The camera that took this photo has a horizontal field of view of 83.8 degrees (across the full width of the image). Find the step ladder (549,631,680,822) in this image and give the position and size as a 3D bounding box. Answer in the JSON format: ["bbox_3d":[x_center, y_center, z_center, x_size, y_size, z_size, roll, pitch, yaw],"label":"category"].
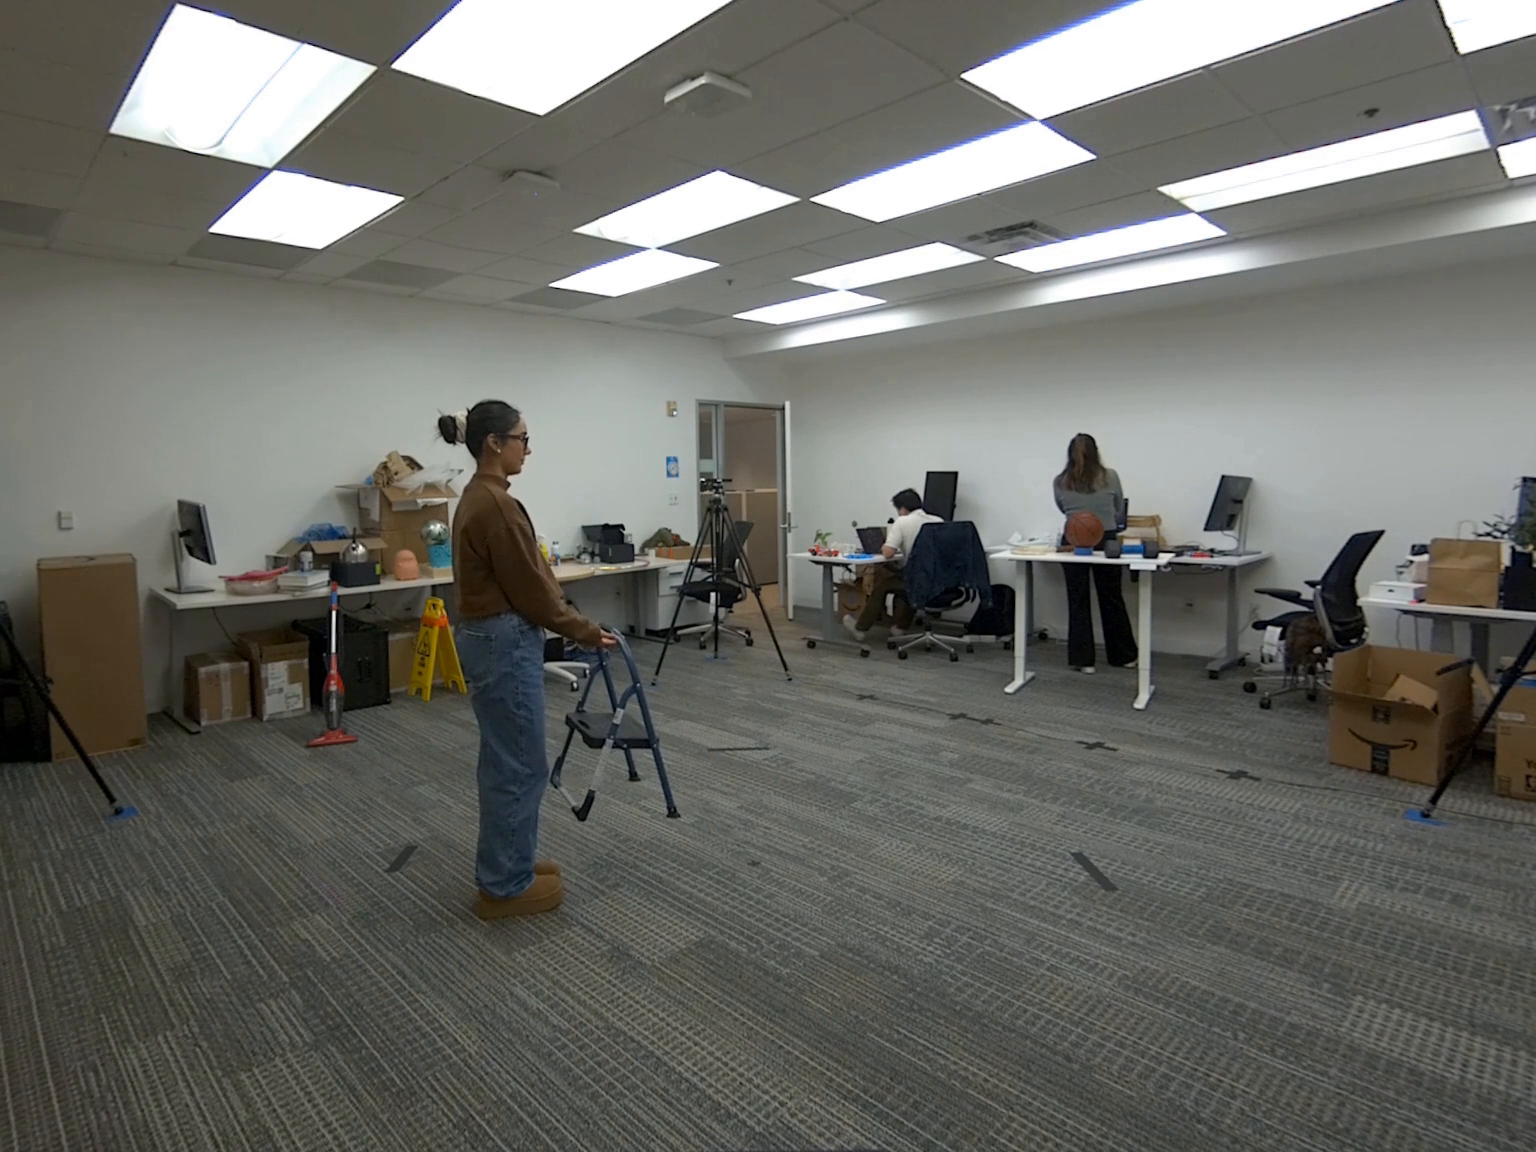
[{"bbox_3d":[-0.513,0.473,2.967,0.340,0.606,0.442,5,1,-29],"label":"step ladder"}]
